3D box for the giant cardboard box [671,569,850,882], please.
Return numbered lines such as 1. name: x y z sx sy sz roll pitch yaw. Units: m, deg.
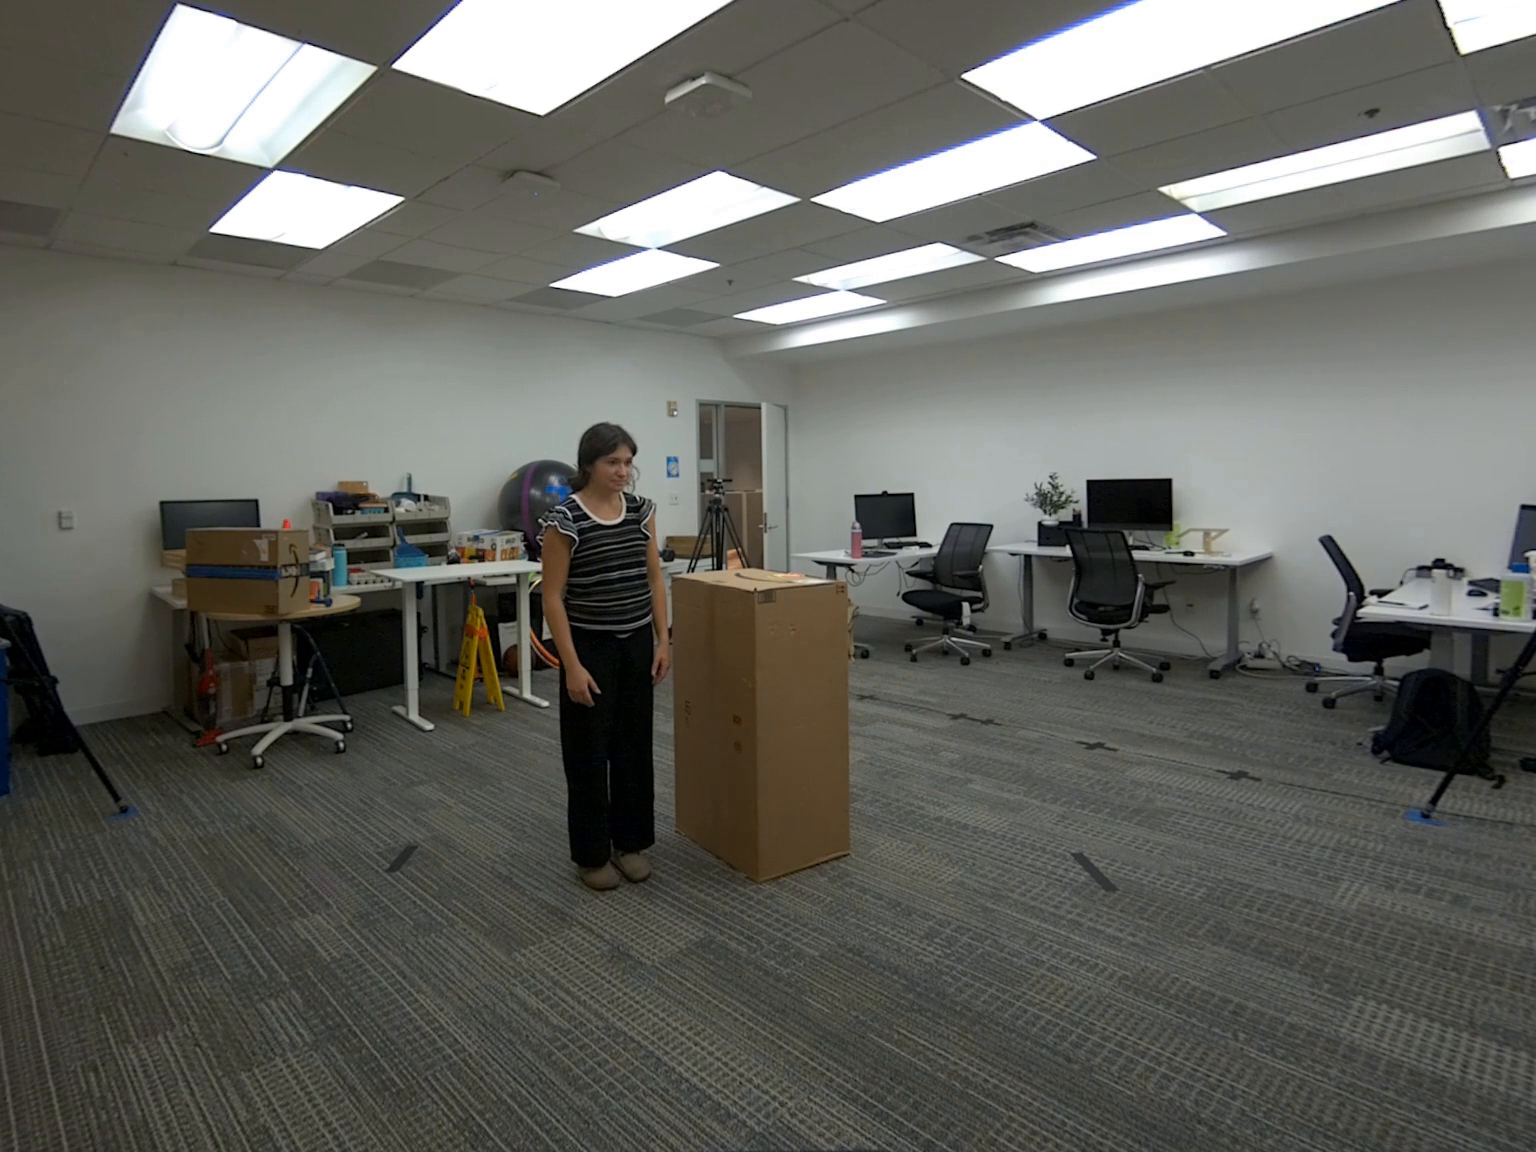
1. giant cardboard box: -0.036 0.517 3.269 0.415 1.022 0.595 -3 5 -36
